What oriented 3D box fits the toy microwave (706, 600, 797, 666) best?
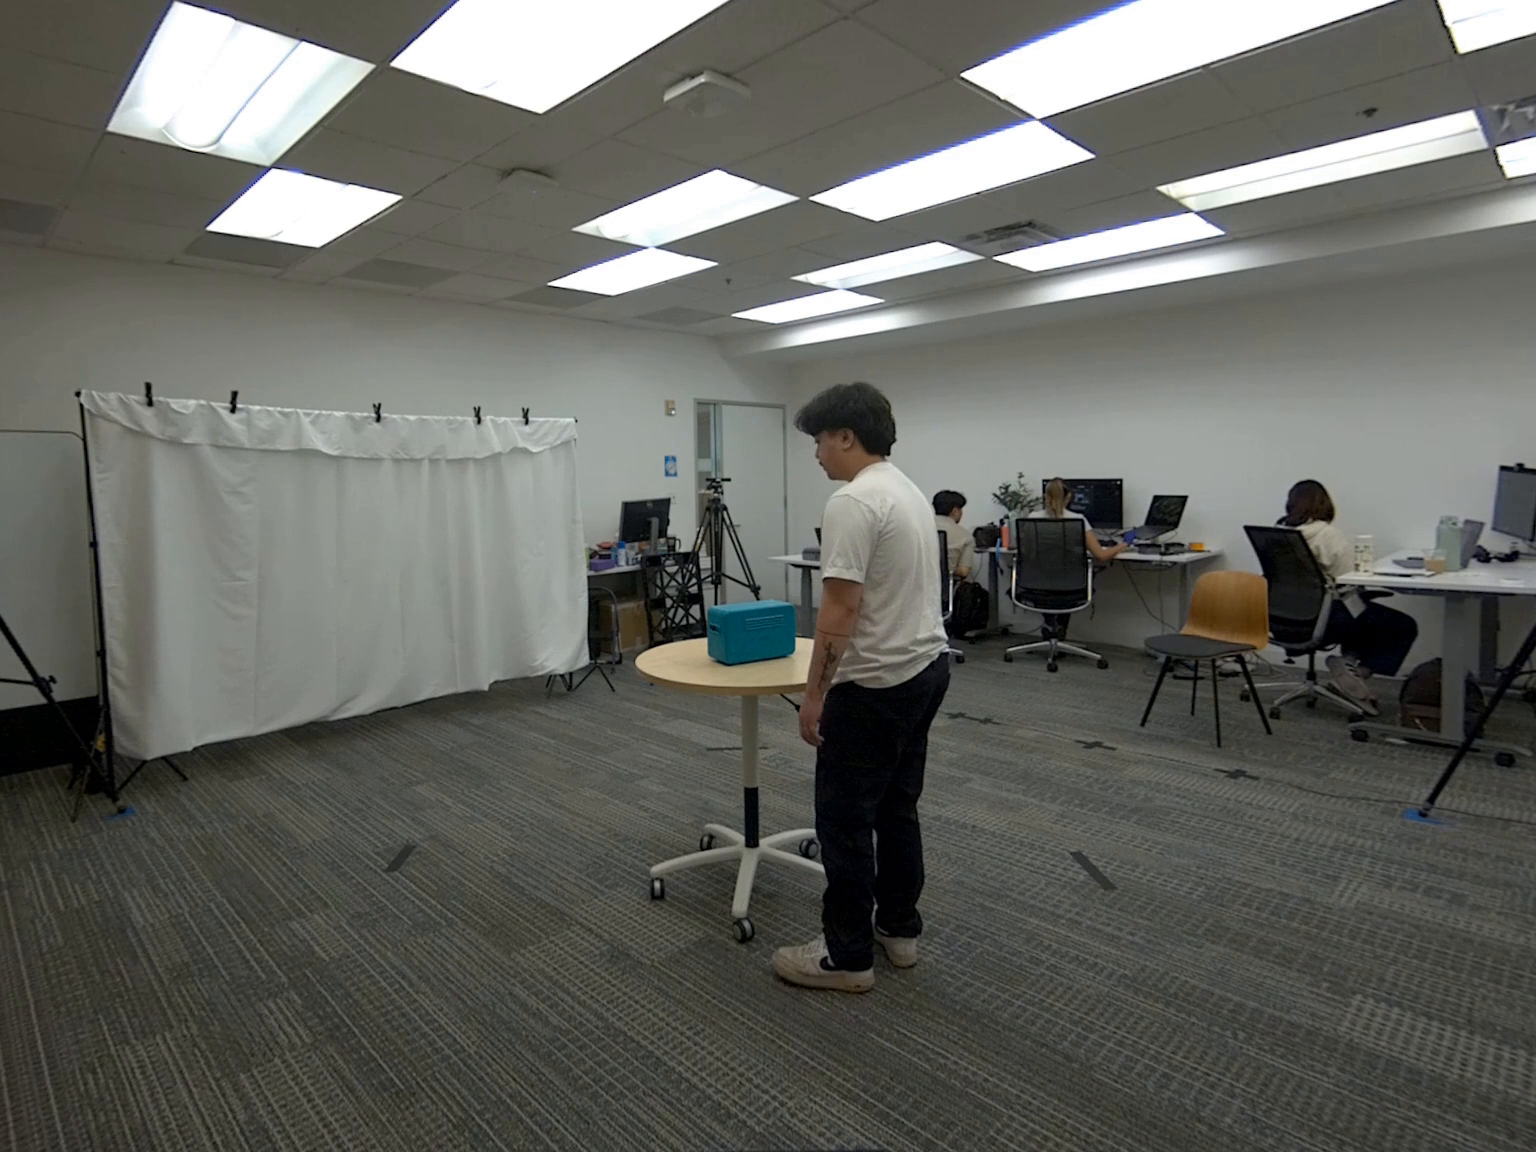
[{"bbox_3d":[-0.057,0.184,2.871,0.279,0.183,0.157,-5,6,-31],"label":"toy microwave"}]
